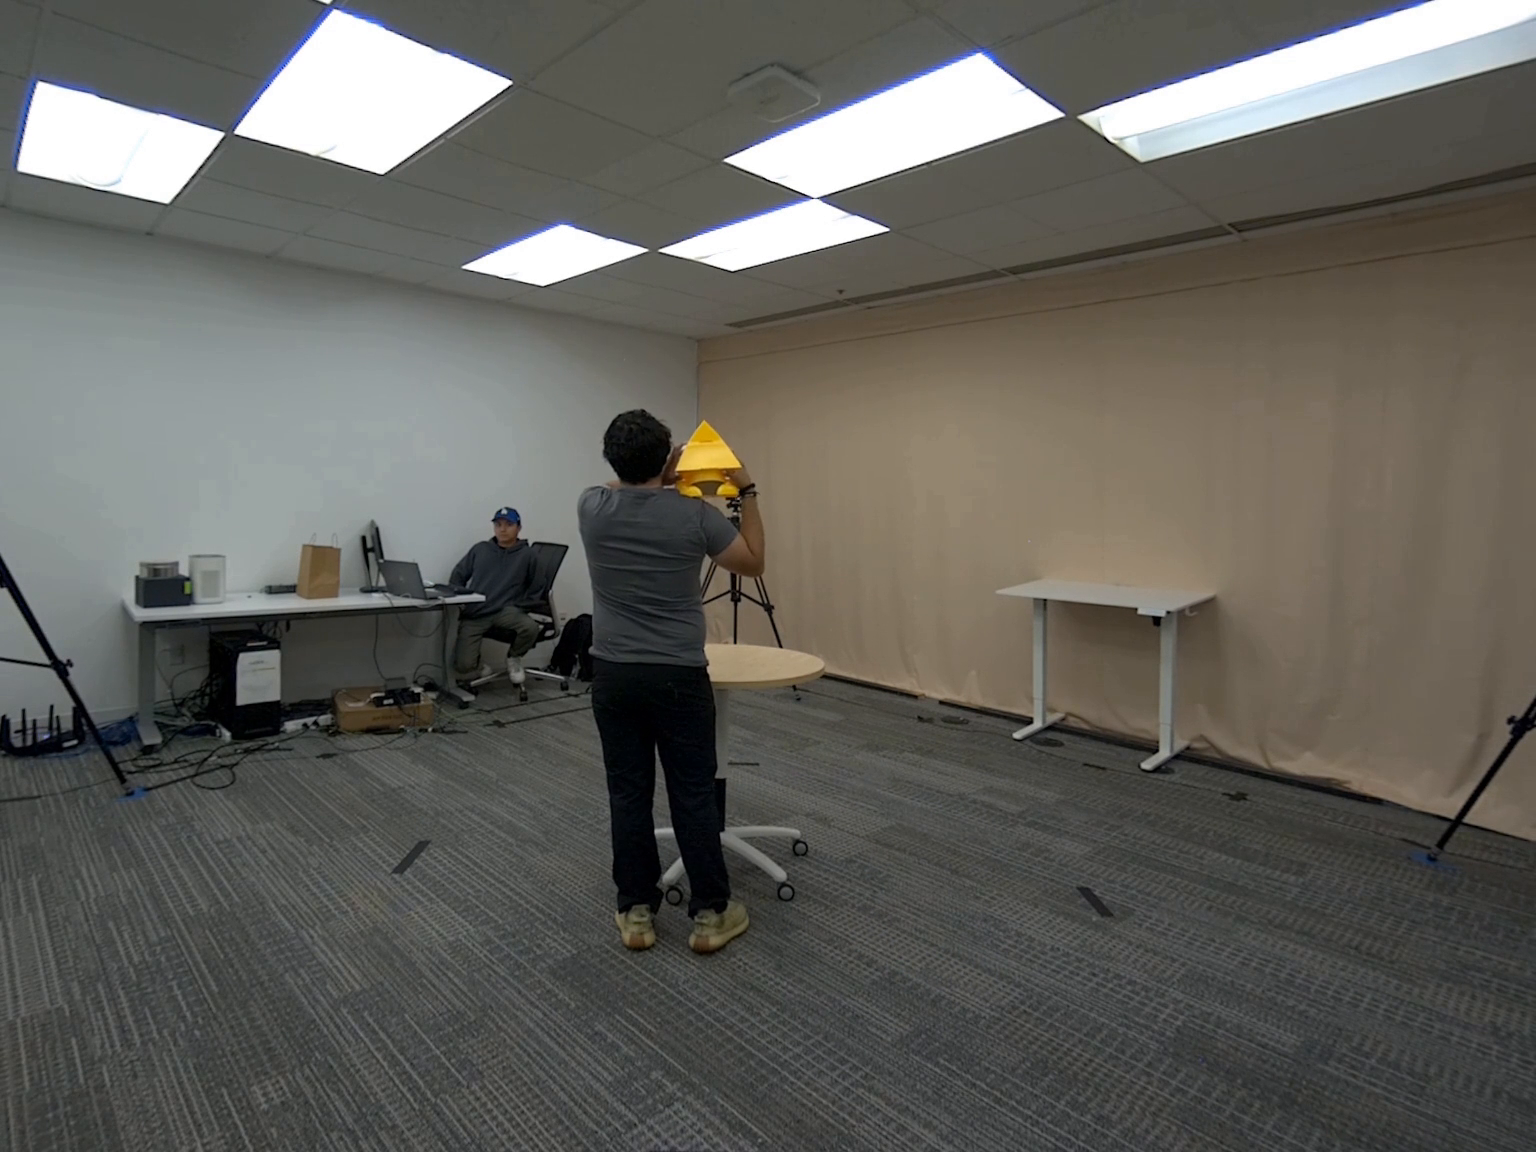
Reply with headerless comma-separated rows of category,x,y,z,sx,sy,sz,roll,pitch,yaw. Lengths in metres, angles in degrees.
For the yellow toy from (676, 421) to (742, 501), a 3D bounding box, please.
yellow toy,-0.210,-0.364,2.640,0.203,0.231,0.194,-4,0,-12
